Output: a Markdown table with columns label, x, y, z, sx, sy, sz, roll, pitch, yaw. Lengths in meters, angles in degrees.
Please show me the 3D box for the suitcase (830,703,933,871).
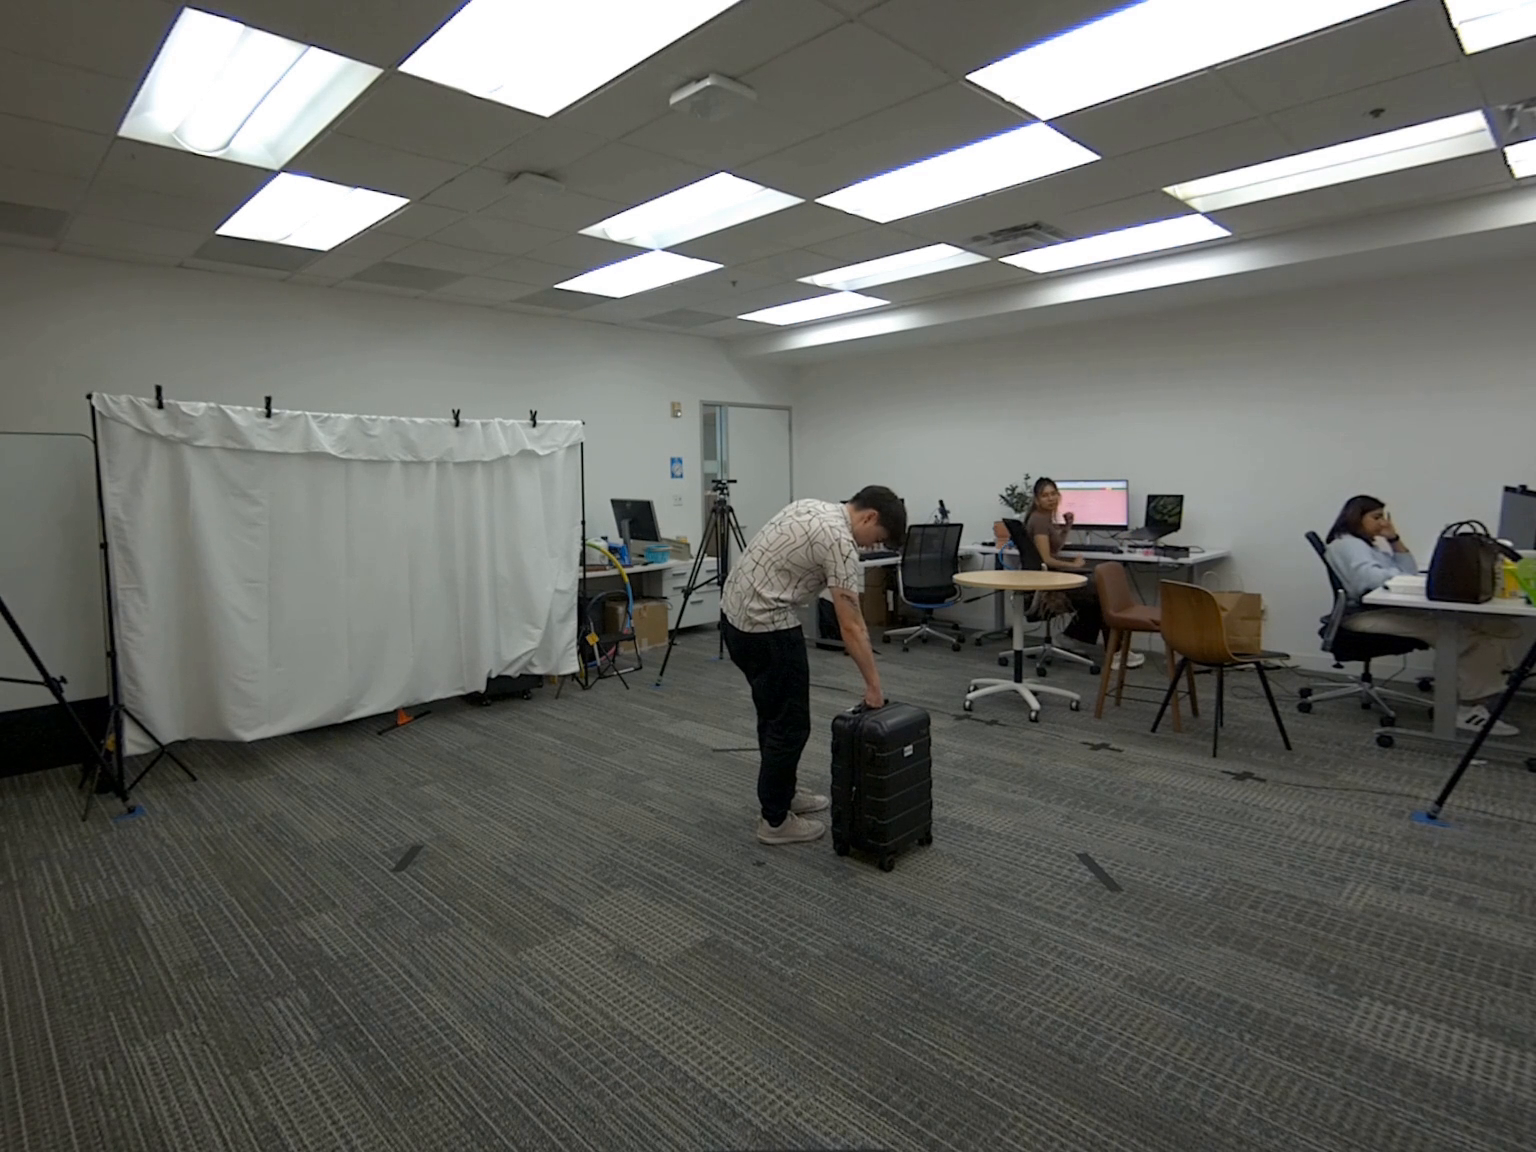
| label | x | y | z | sx | sy | sz | roll | pitch | yaw |
| --- | --- | --- | --- | --- | --- | --- | --- | --- | --- |
| suitcase | 0.432 | 0.752 | 3.187 | 0.256 | 0.547 | 0.365 | 3 | 6 | 44 |
